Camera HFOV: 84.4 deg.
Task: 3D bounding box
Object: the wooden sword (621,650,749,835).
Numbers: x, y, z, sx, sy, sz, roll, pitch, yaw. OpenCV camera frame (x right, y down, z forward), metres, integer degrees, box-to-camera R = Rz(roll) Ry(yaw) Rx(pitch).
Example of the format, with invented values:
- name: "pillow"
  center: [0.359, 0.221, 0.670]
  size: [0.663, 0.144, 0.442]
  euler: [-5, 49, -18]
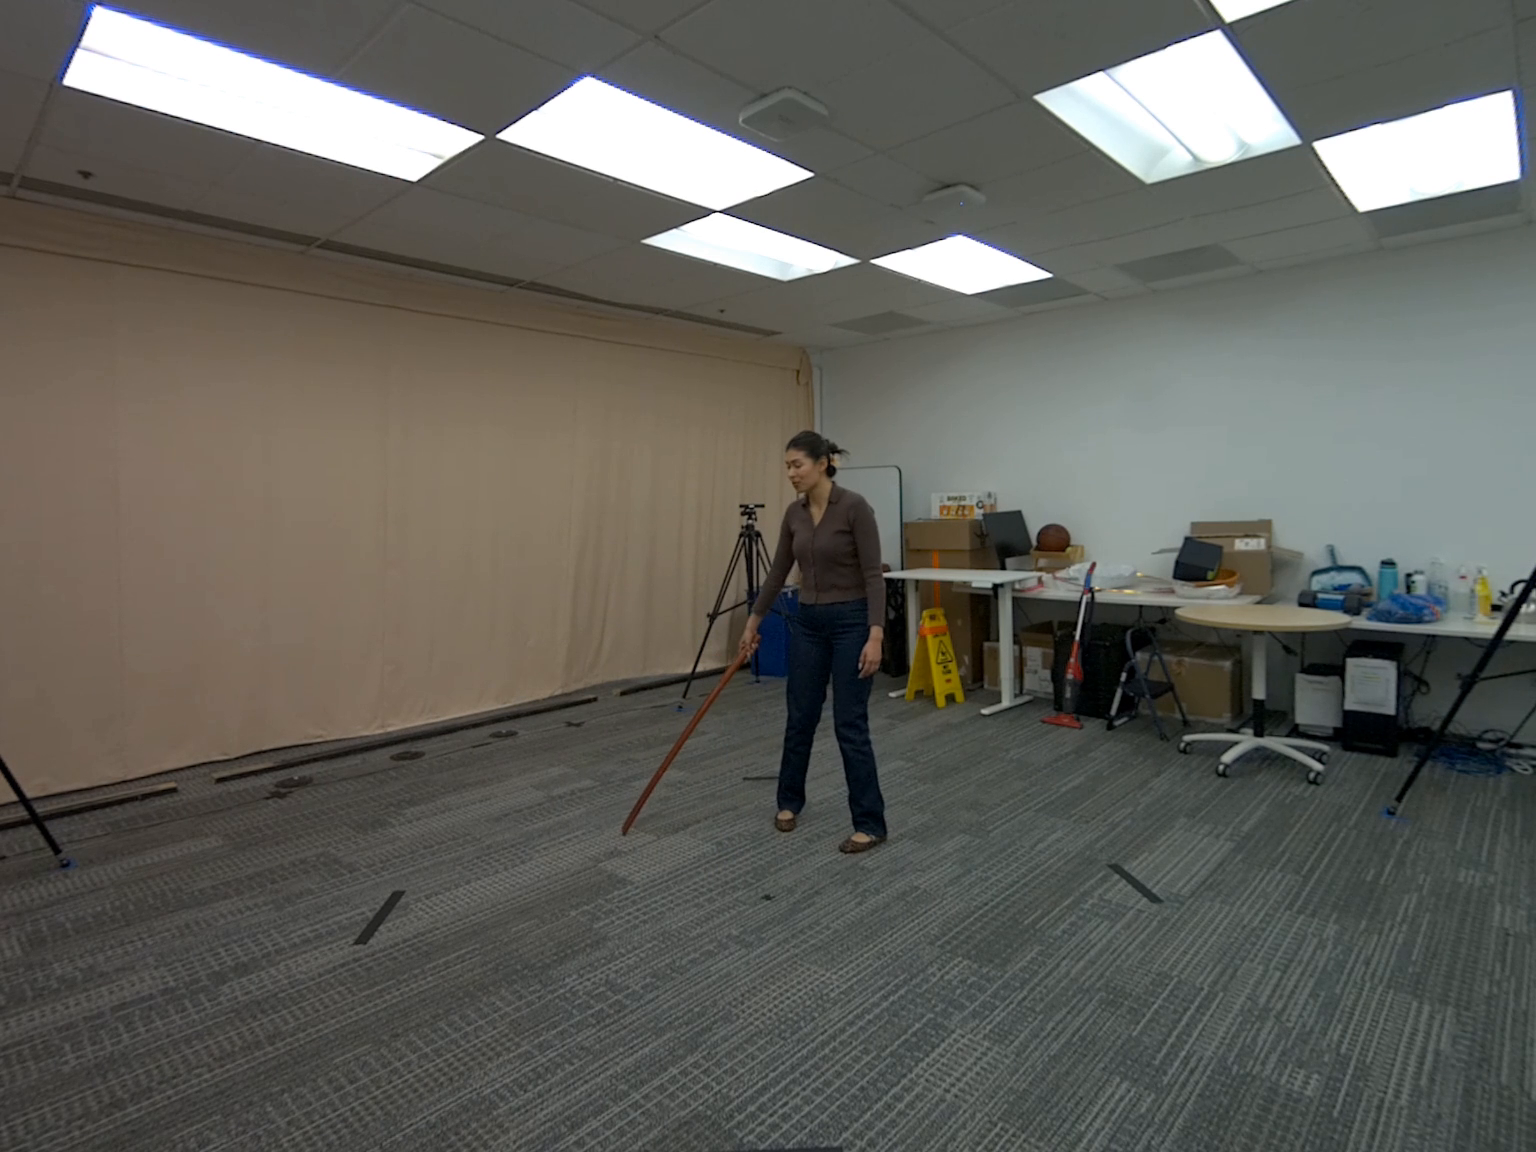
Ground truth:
- name: "wooden sword"
  center: [-0.336, 0.691, 3.648]
  size: [0.052, 1.023, 0.023]
  euler: [33, -10, 20]
